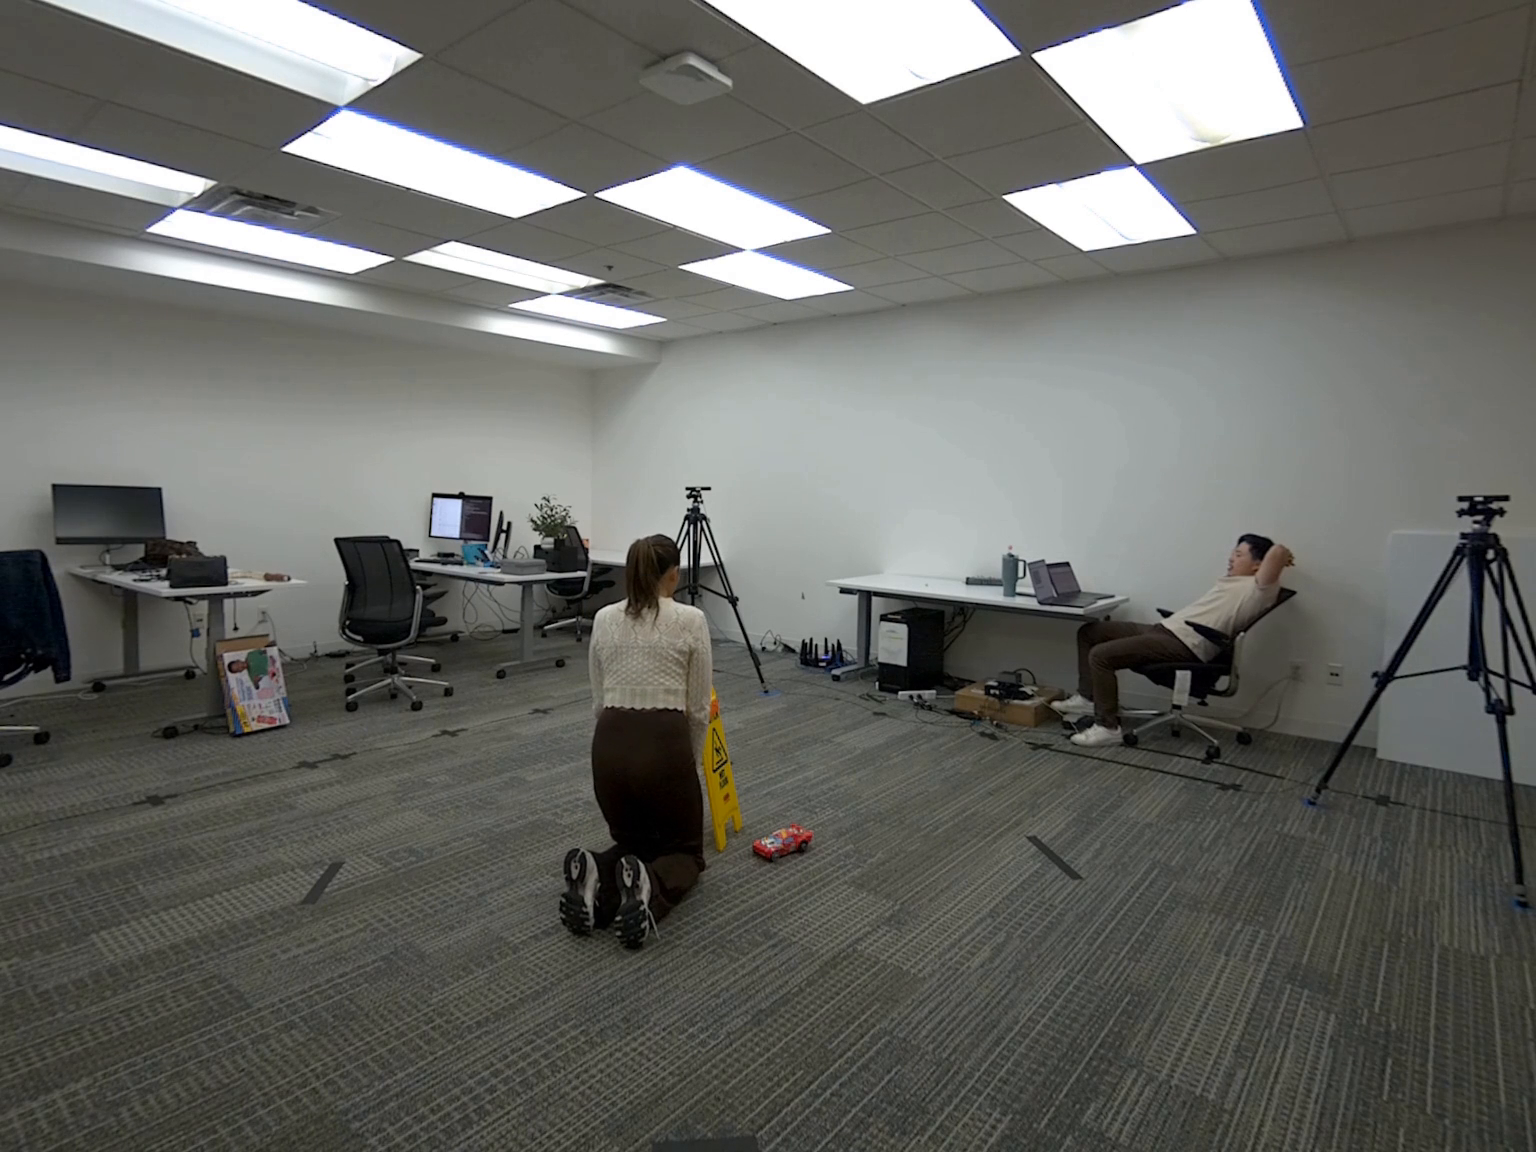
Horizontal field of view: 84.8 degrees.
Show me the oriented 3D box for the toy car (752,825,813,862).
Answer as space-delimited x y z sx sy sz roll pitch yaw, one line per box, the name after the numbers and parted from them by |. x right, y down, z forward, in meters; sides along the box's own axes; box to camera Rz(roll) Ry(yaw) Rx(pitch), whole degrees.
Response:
0.063 1.024 3.267 0.249 0.082 0.134 -16 13 -36 | toy car
